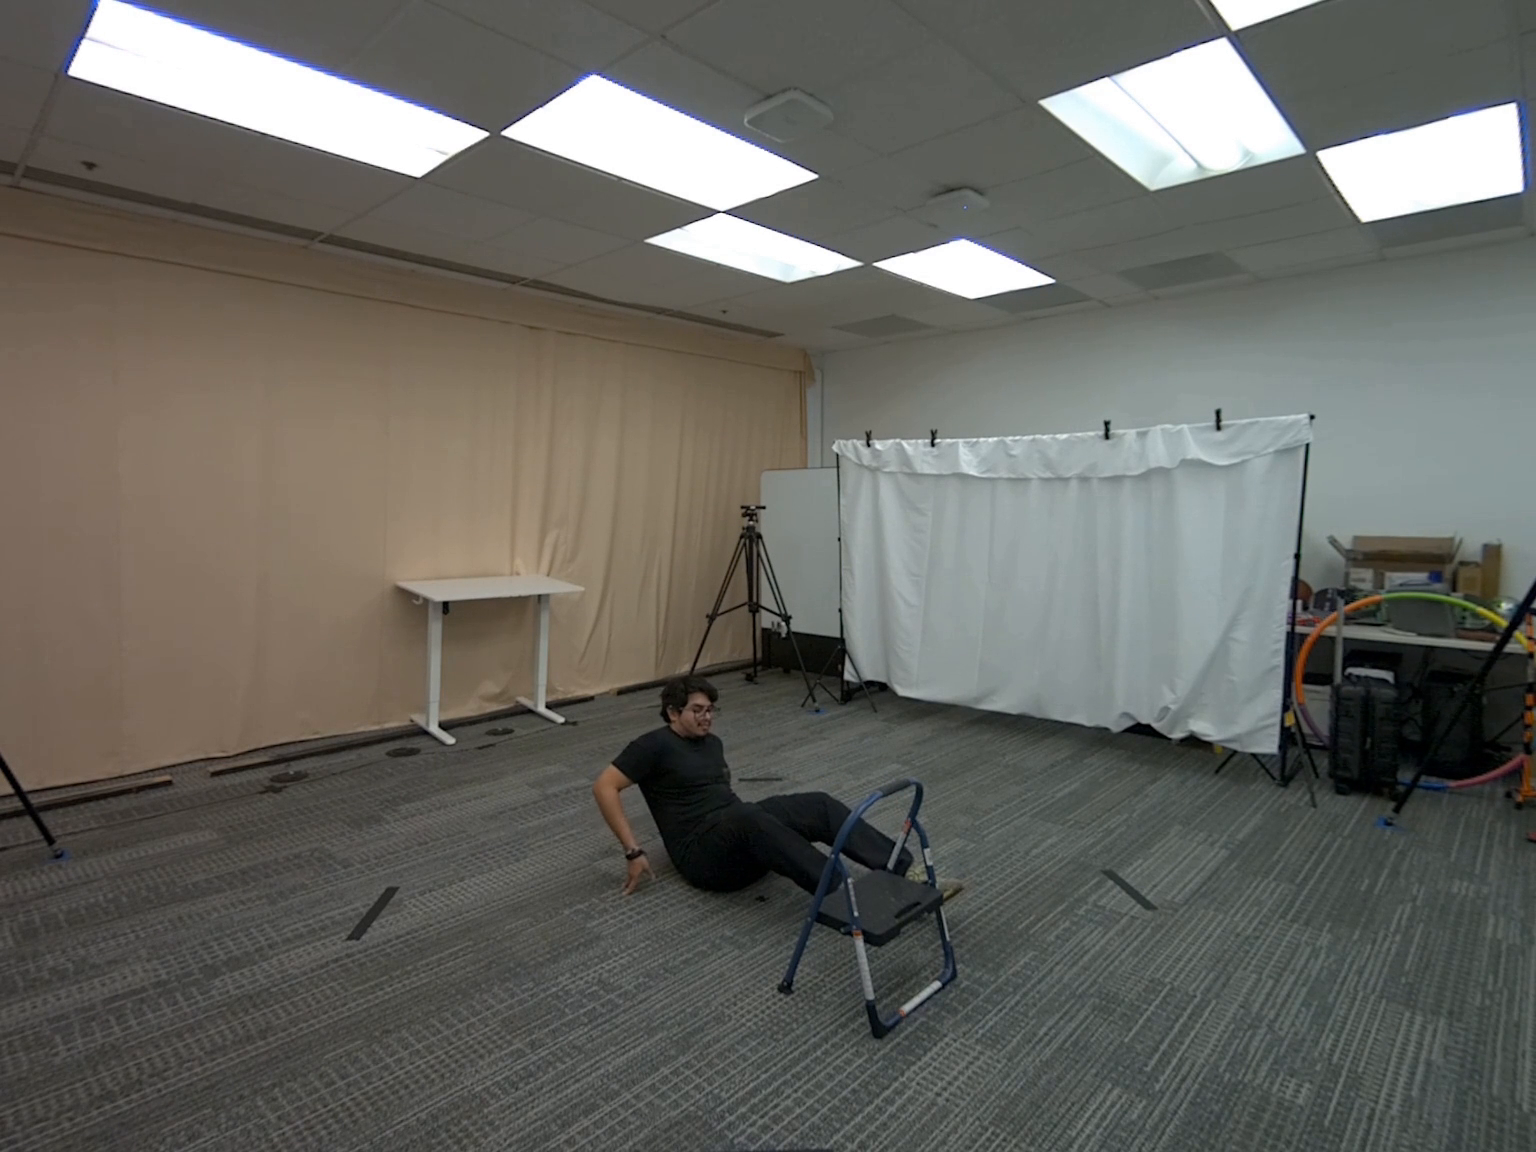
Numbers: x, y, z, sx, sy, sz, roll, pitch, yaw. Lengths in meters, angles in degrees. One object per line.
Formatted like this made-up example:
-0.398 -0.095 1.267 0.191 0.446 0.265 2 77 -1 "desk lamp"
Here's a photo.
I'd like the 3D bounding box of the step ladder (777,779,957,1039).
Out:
0.300 0.886 2.434 0.361 0.605 0.417 3 5 42 "step ladder"
